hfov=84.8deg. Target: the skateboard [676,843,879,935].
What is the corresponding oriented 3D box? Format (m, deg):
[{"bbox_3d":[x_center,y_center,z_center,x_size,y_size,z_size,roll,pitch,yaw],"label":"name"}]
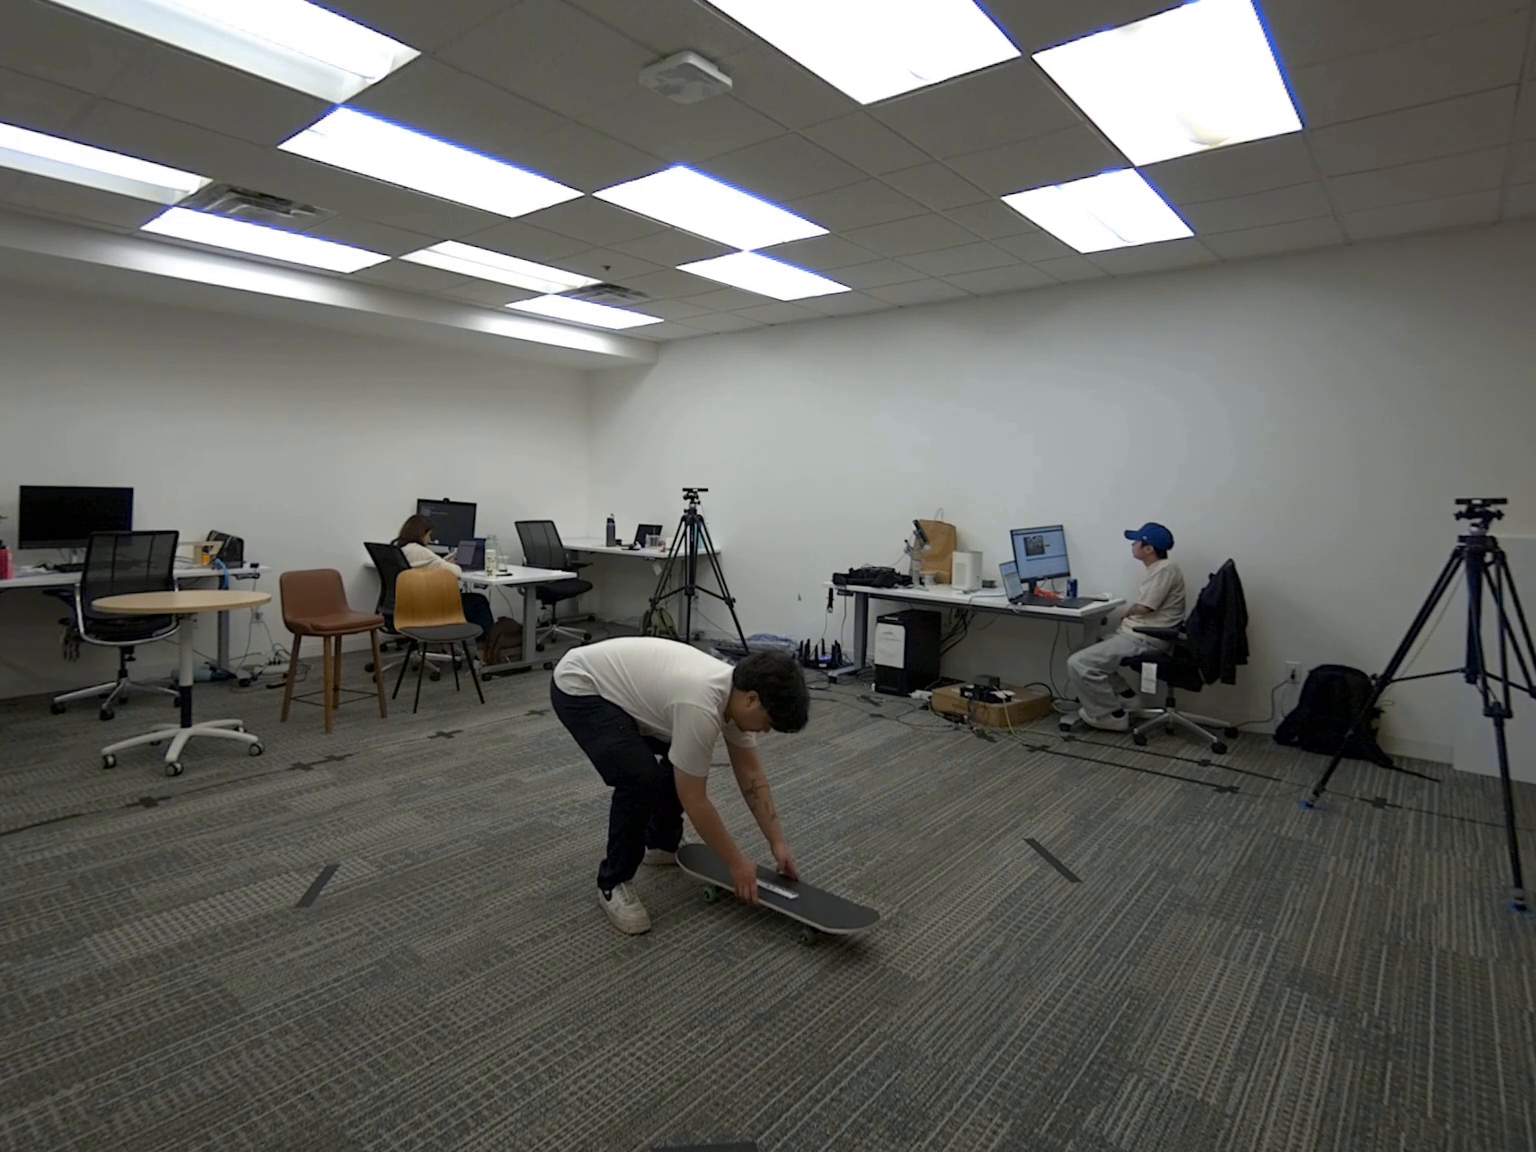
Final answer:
[{"bbox_3d":[-0.002,1.041,2.788,0.812,0.110,0.188,6,9,38],"label":"skateboard"}]
